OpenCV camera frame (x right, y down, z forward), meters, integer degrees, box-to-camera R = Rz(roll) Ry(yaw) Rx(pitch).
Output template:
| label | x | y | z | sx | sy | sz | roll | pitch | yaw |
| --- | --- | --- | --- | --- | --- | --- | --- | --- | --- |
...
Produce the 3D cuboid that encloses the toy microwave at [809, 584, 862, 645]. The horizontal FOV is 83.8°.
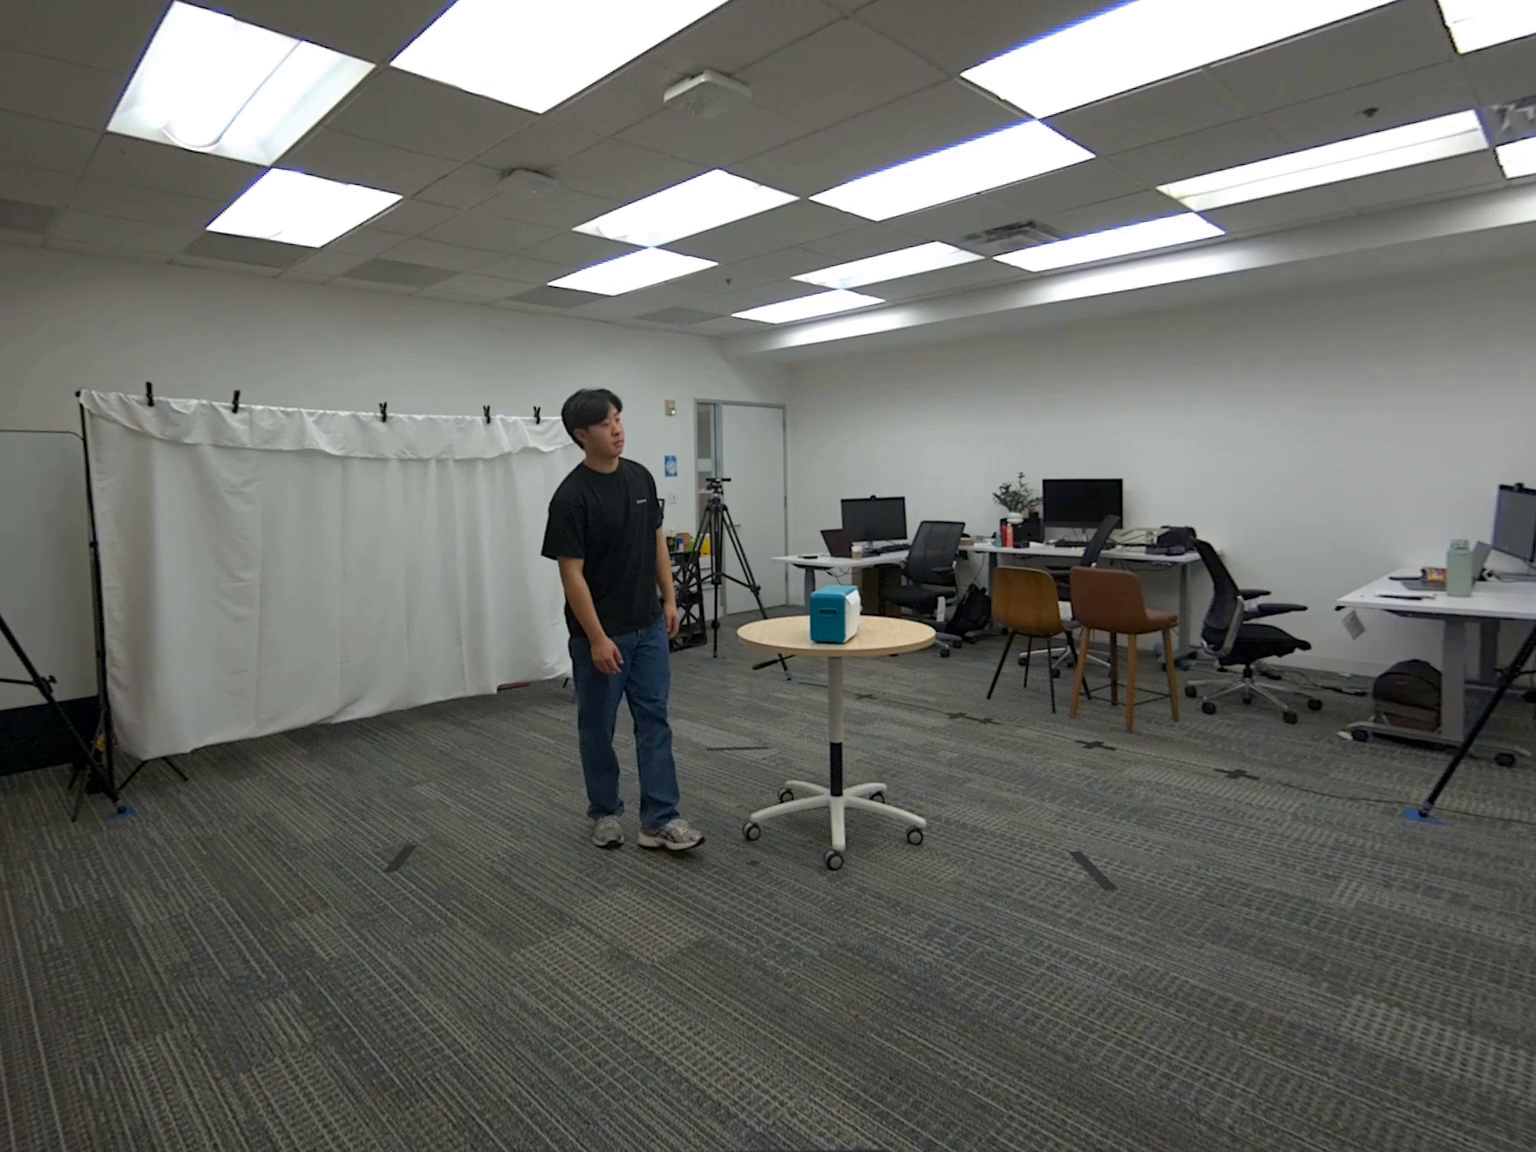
| label | x | y | z | sx | sy | sz | roll | pitch | yaw |
| --- | --- | --- | --- | --- | --- | --- | --- | --- | --- |
| toy microwave | 0.257 | 0.136 | 3.168 | 0.155 | 0.183 | 0.282 | 1 | 6 | 17 |
